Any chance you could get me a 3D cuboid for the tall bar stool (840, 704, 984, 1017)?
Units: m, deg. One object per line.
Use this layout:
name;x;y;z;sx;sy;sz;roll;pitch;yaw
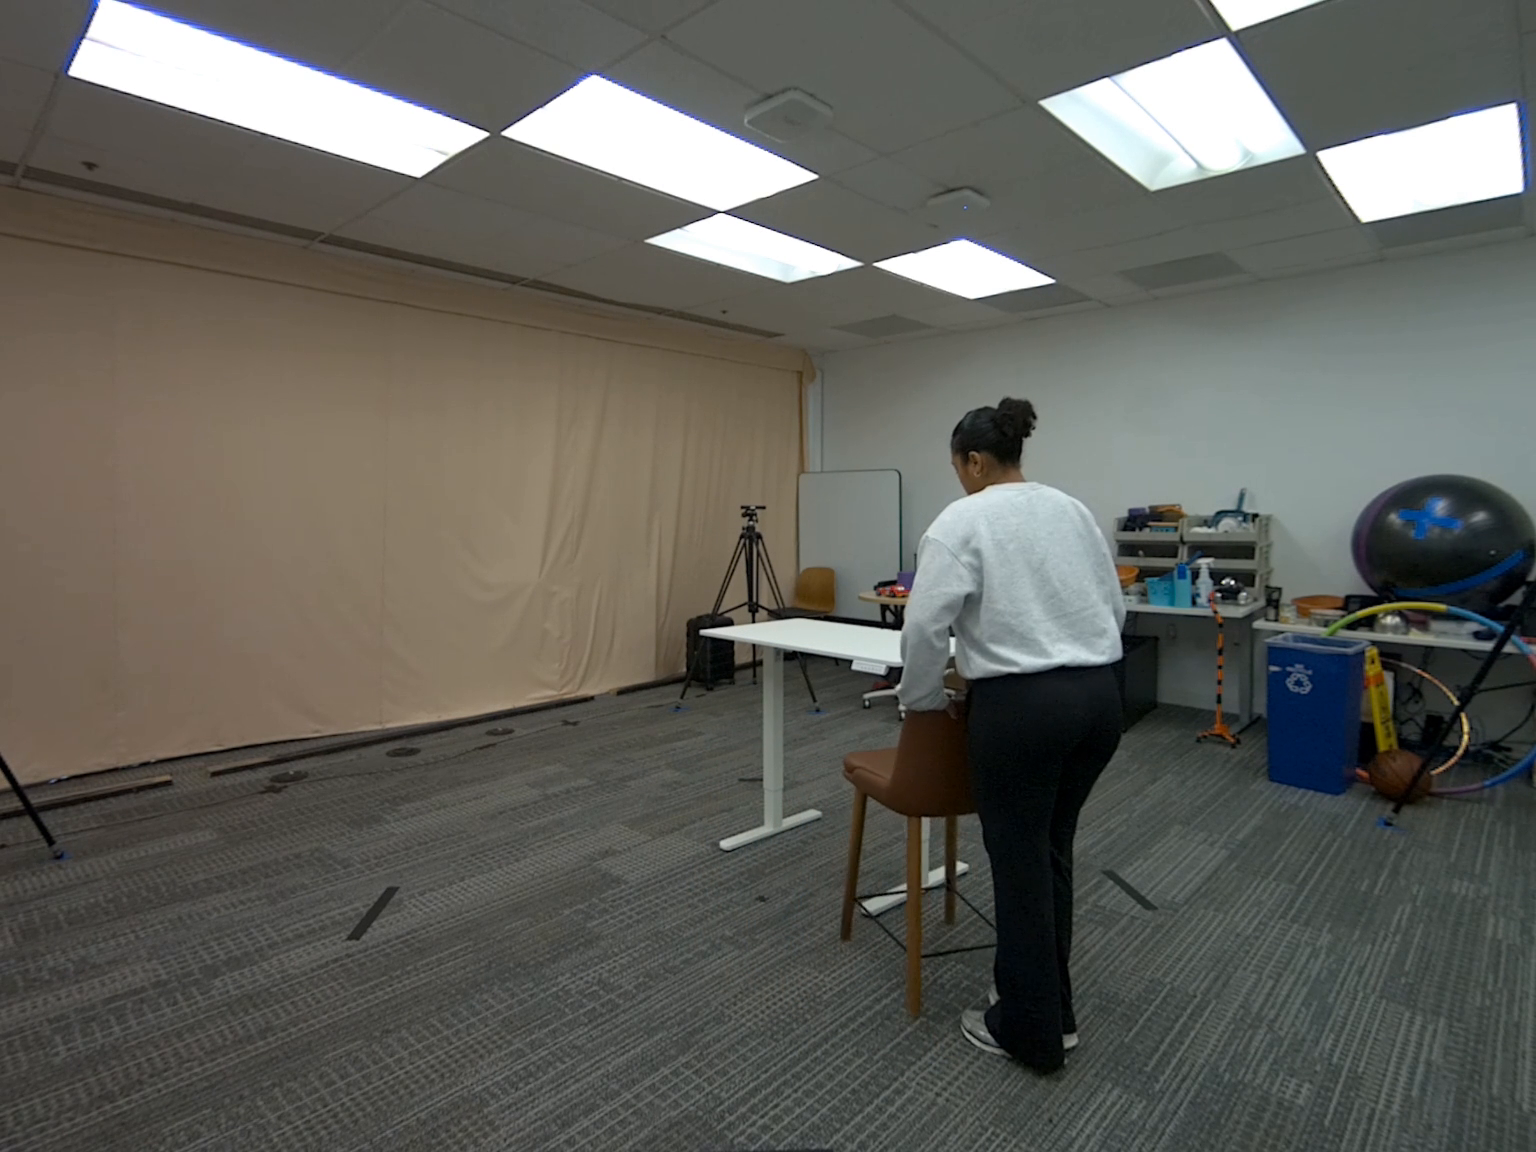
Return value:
tall bar stool;0.505;0.744;2.514;0.449;0.886;0.477;-1;6;-17
